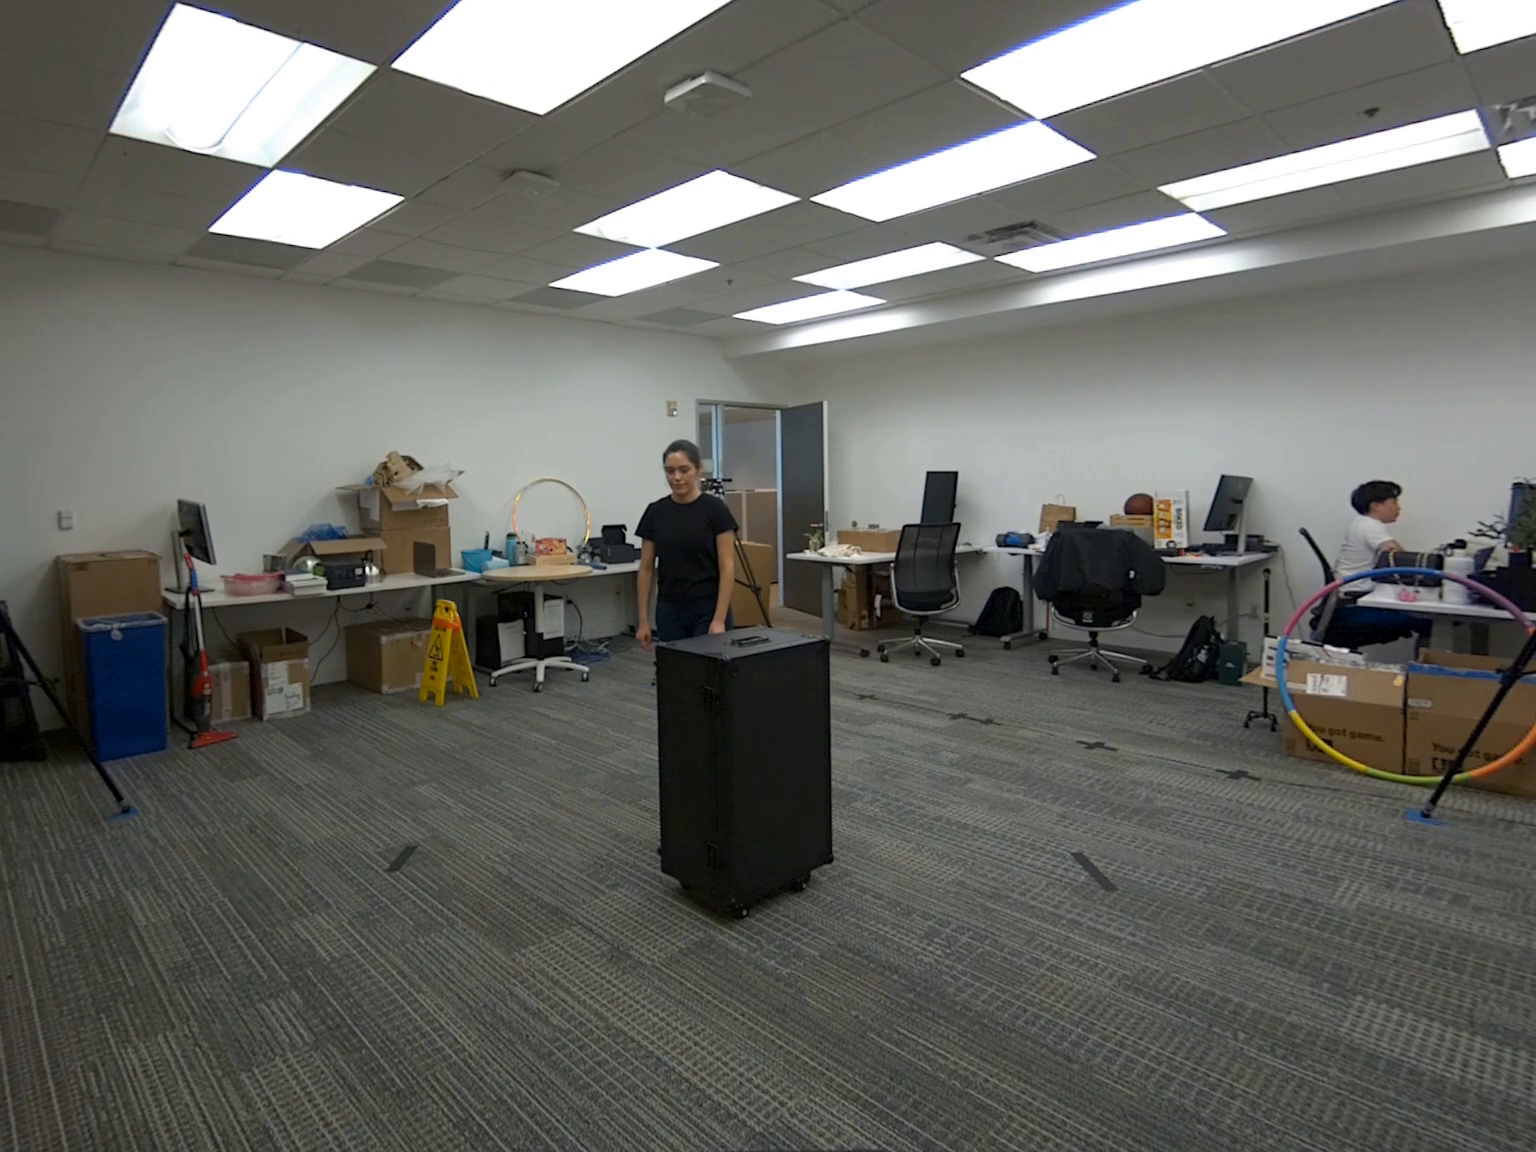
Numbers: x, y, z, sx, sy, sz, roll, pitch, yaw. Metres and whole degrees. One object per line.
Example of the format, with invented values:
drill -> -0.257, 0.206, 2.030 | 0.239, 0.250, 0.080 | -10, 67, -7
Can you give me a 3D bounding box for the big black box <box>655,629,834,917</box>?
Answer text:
big black box -> -0.086, 0.643, 2.921 | 0.507, 0.858, 0.408 | -5, 5, -43
